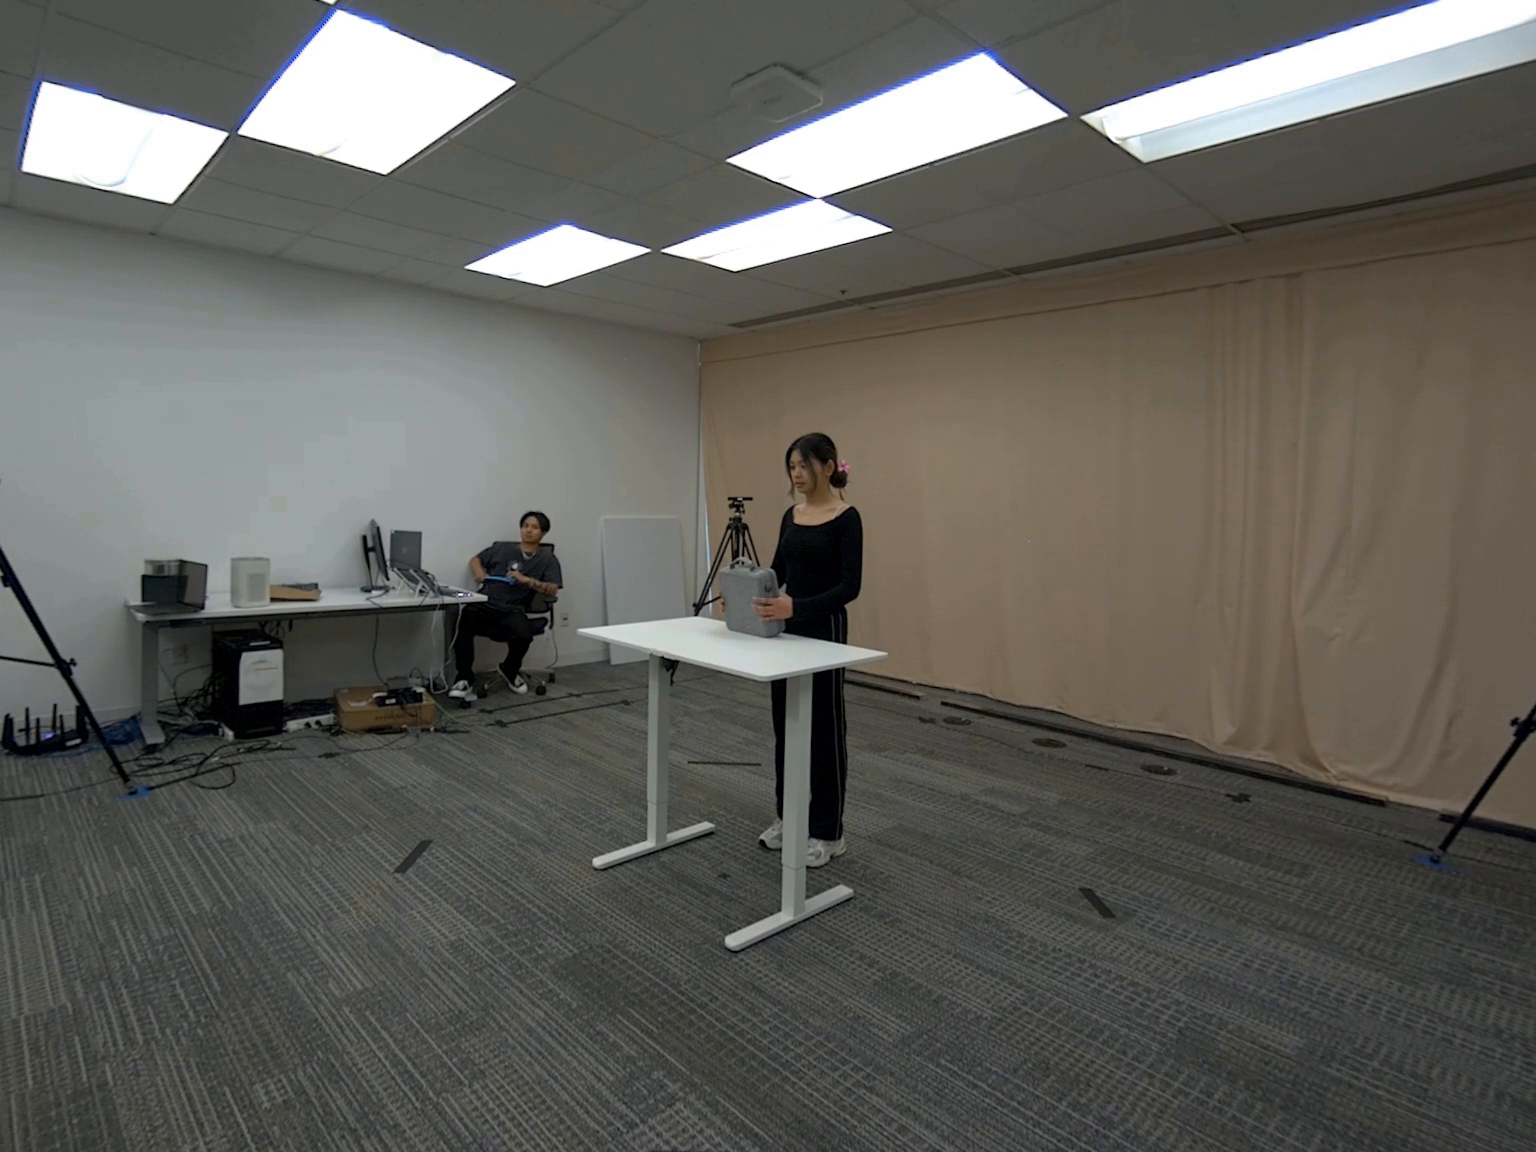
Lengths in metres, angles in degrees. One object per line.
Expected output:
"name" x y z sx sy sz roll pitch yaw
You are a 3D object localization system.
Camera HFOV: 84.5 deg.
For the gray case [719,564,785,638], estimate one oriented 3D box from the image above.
"gray case" -0.066 0.086 3.170 0.103 0.258 0.263 -16 13 -34
